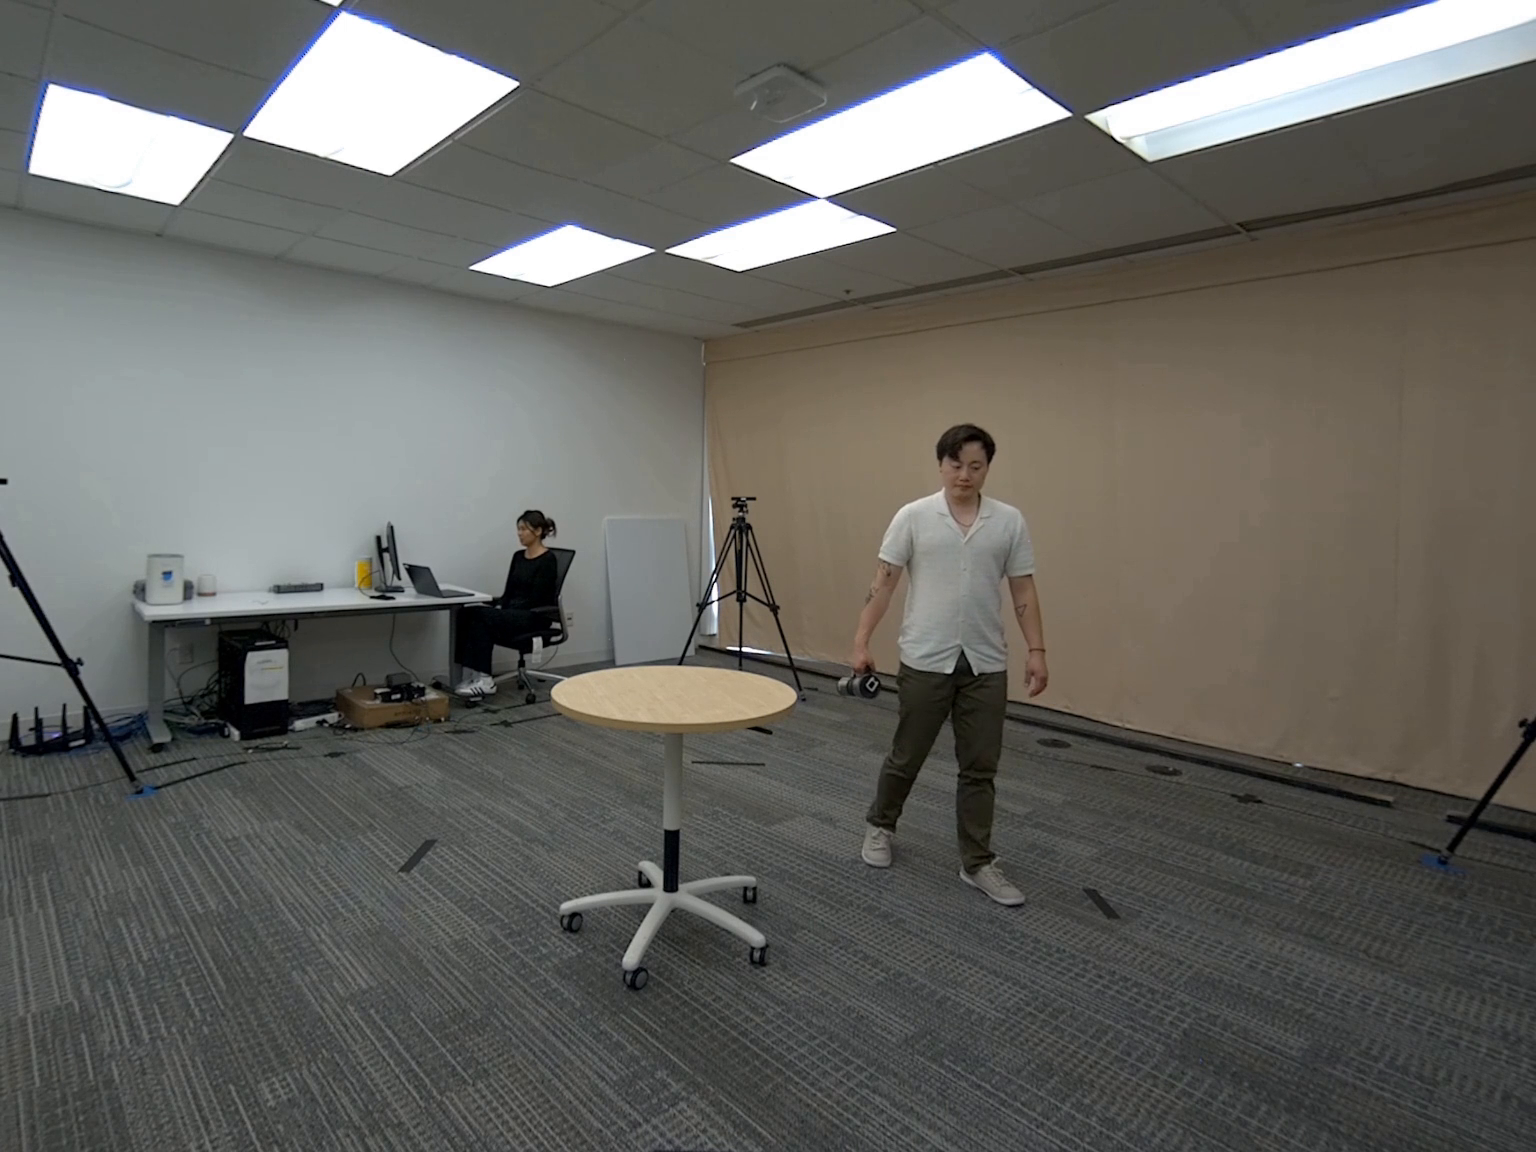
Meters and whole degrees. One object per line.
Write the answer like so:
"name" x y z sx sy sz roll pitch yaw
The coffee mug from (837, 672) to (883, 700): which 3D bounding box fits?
"coffee mug" 0.339 0.396 3.125 0.087 0.122 0.204 35 -16 -9
